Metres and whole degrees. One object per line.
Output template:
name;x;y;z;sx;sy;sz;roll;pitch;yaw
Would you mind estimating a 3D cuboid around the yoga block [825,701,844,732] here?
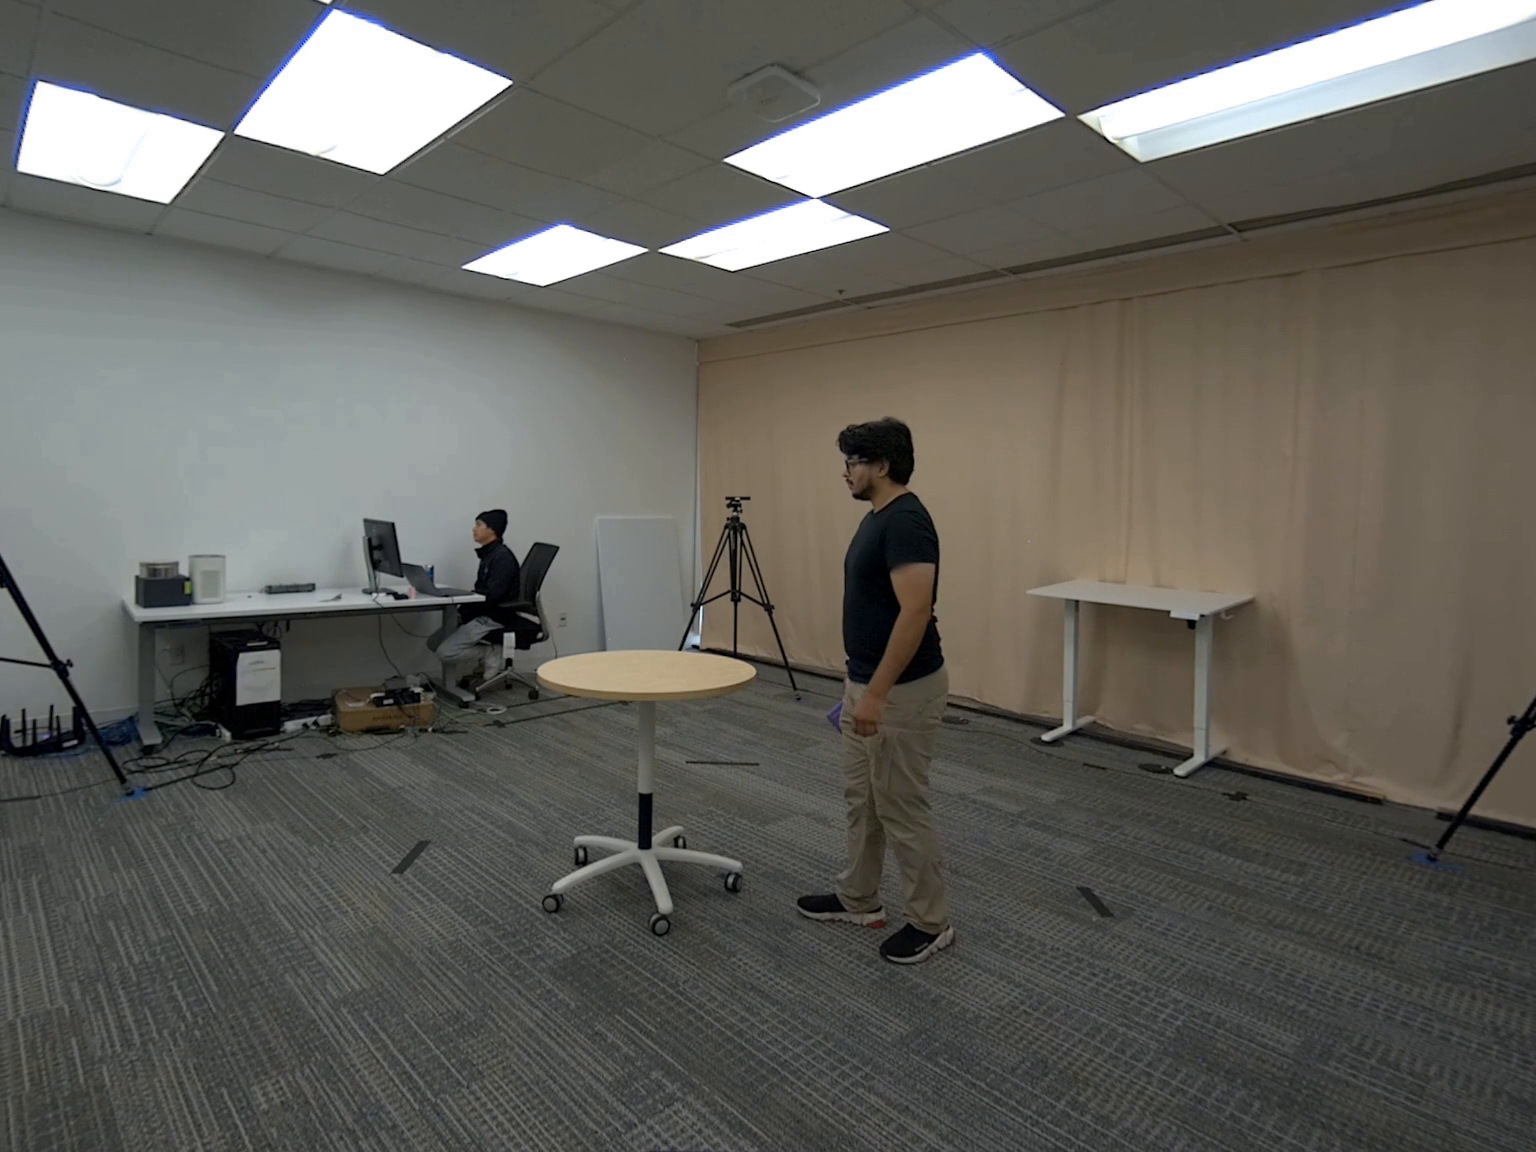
yoga block;0.326;0.472;2.960;0.229;0.150;0.076;-42;-6;2
